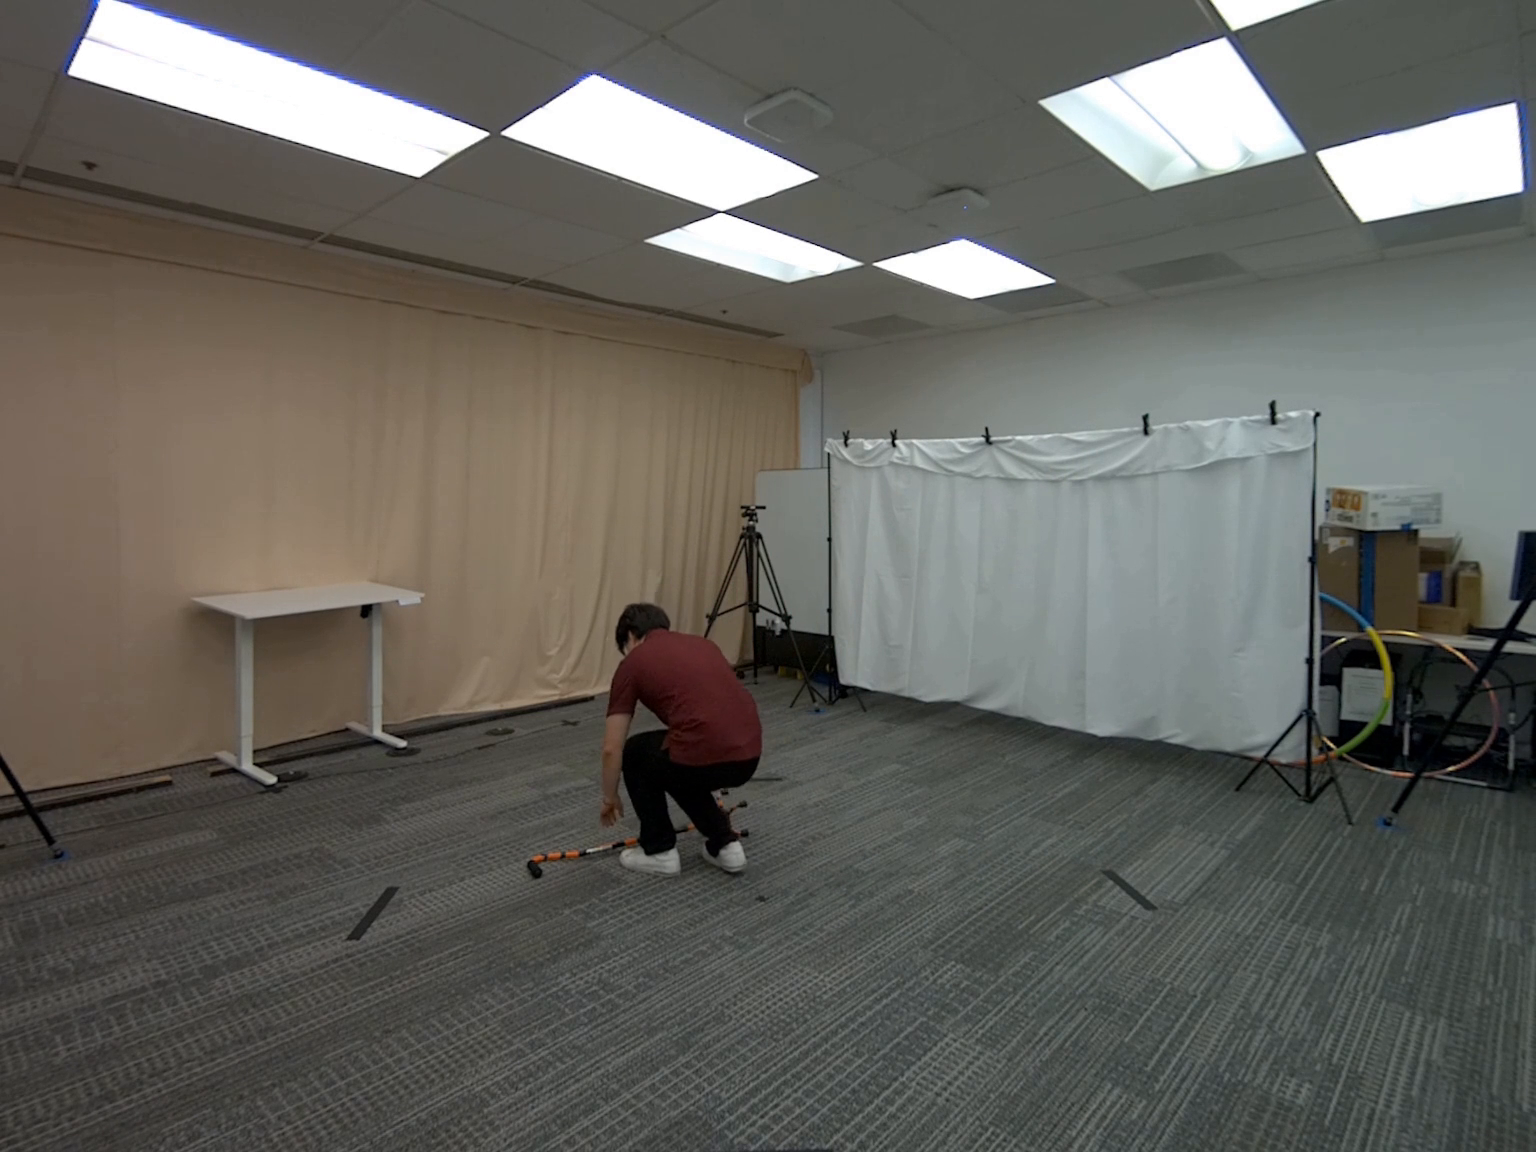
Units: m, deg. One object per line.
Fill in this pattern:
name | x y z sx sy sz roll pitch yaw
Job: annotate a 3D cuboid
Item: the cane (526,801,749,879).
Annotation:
cane | -0.529 1.052 3.431 0.886 0.151 0.212 -6 4 -27
